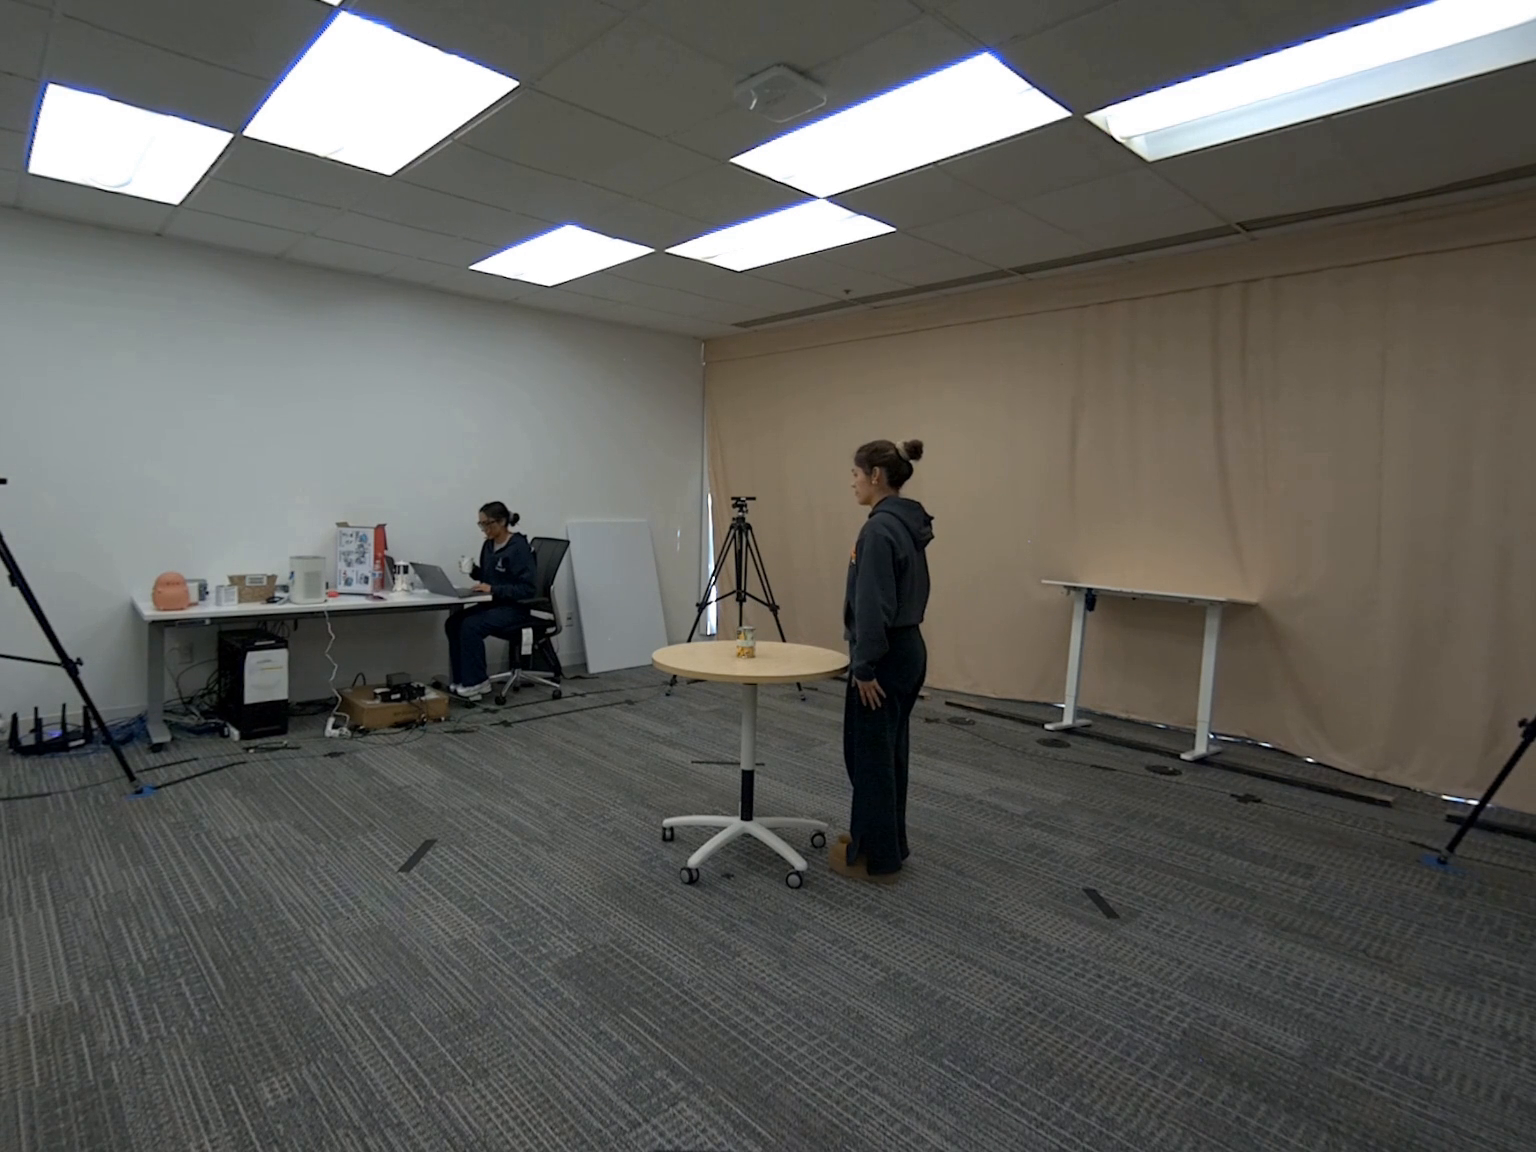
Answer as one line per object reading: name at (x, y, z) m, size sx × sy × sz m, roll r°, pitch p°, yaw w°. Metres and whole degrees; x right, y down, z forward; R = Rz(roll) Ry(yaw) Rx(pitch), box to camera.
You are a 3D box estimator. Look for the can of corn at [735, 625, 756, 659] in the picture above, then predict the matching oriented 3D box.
can of corn at (-0.087, 0.254, 3.259) m, size 0.074 × 0.111 × 0.074 m, roll 3°, pitch 2°, yaw -1°
